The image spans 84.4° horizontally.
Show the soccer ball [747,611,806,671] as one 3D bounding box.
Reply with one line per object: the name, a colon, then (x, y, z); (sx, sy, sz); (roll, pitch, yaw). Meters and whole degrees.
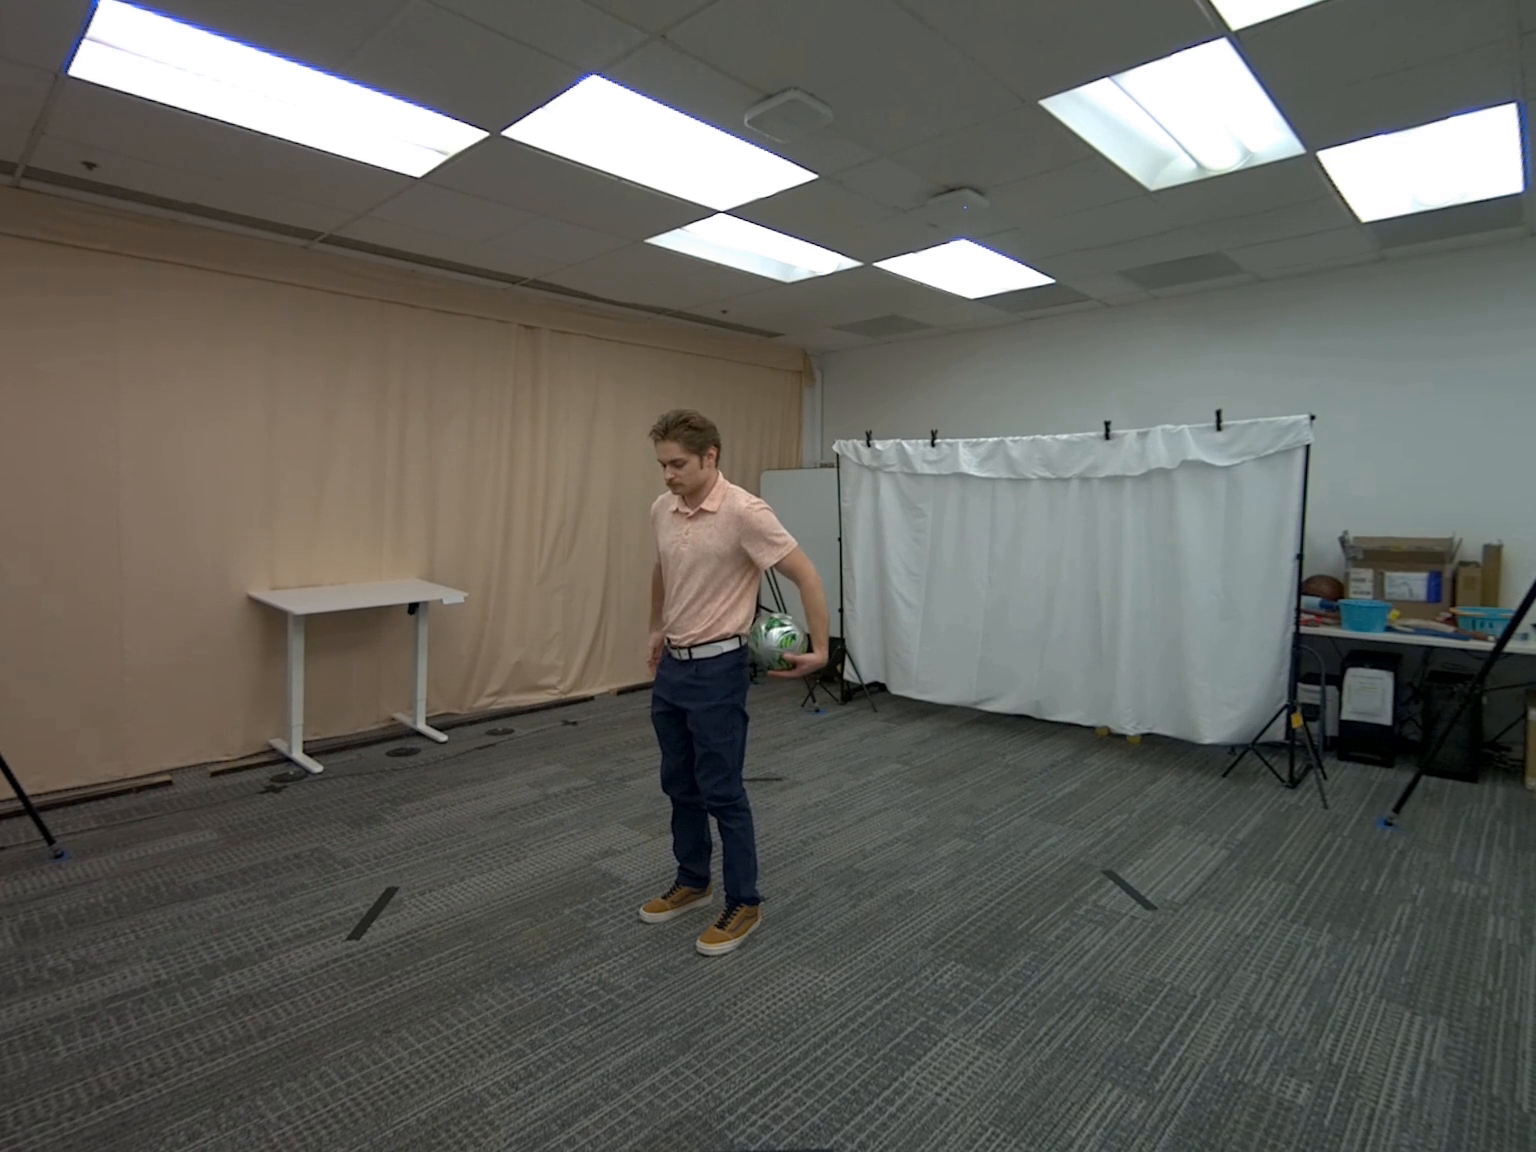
soccer ball: (0.031, 0.208, 2.620); (0.187, 0.187, 0.188); (0, 4, -2)
